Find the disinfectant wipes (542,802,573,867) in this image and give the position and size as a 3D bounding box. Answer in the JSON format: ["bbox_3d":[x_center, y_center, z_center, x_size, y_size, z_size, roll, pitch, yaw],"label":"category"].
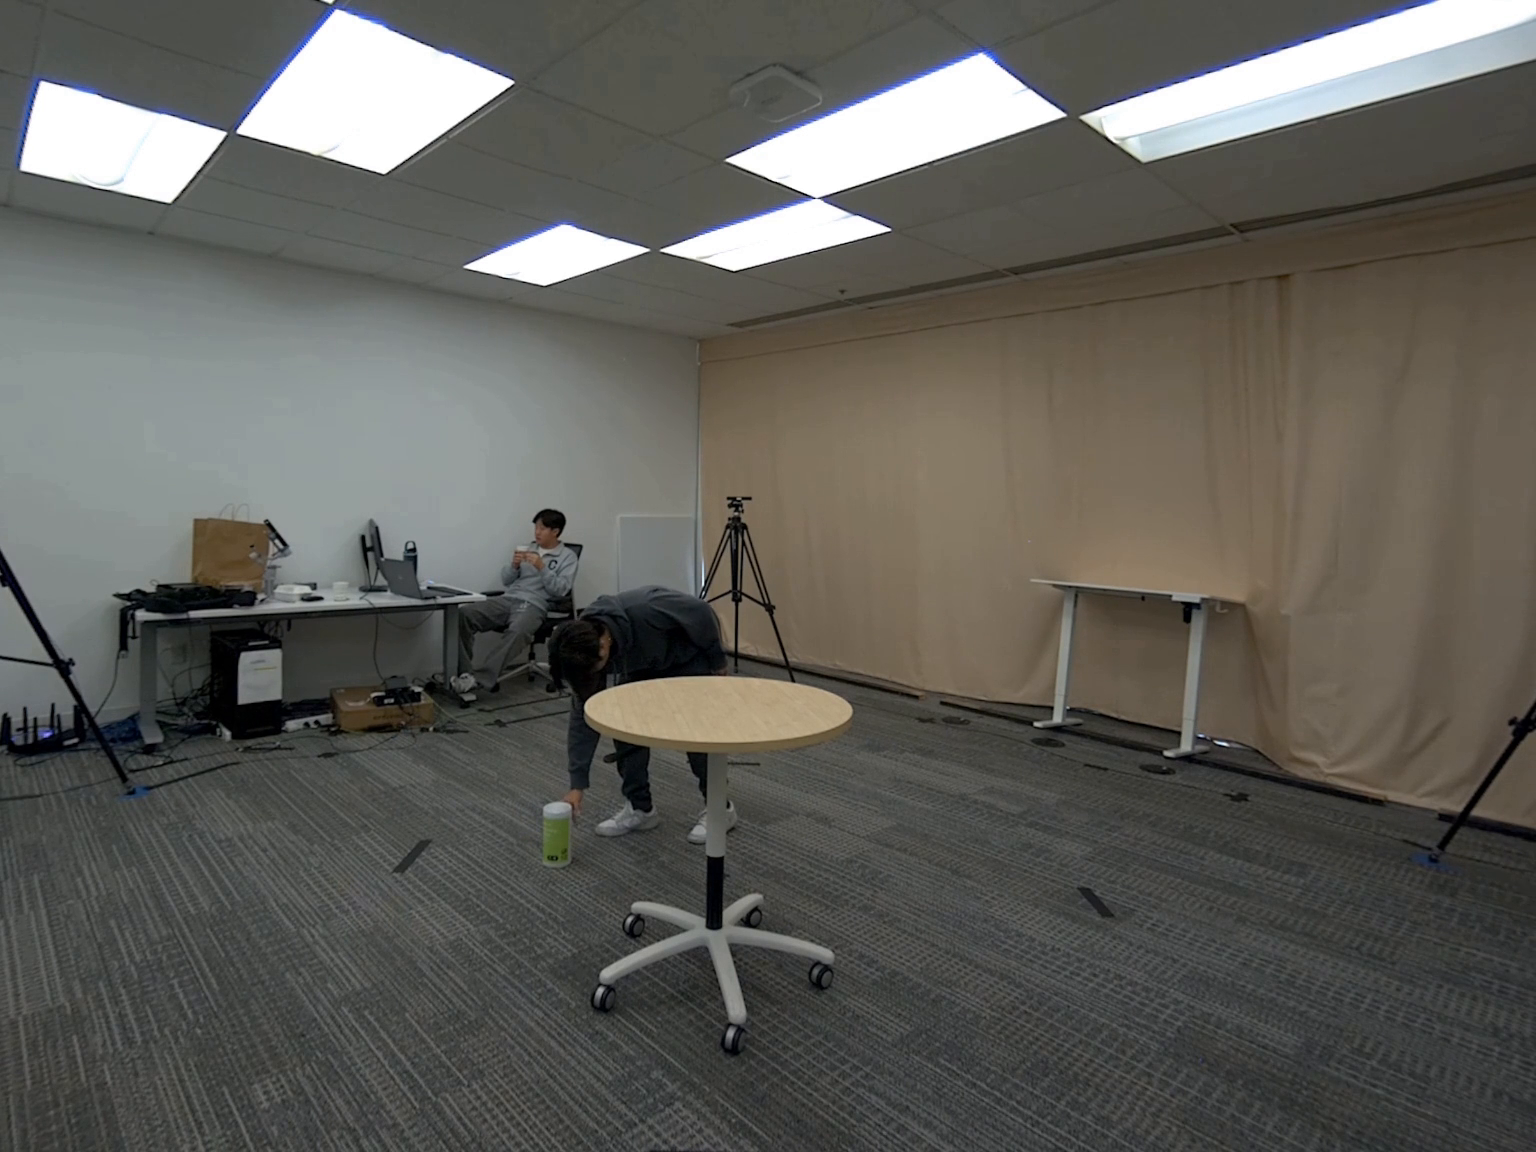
[{"bbox_3d":[-0.805,0.981,3.173,0.118,0.217,0.118,1,4,-1],"label":"disinfectant wipes"}]
